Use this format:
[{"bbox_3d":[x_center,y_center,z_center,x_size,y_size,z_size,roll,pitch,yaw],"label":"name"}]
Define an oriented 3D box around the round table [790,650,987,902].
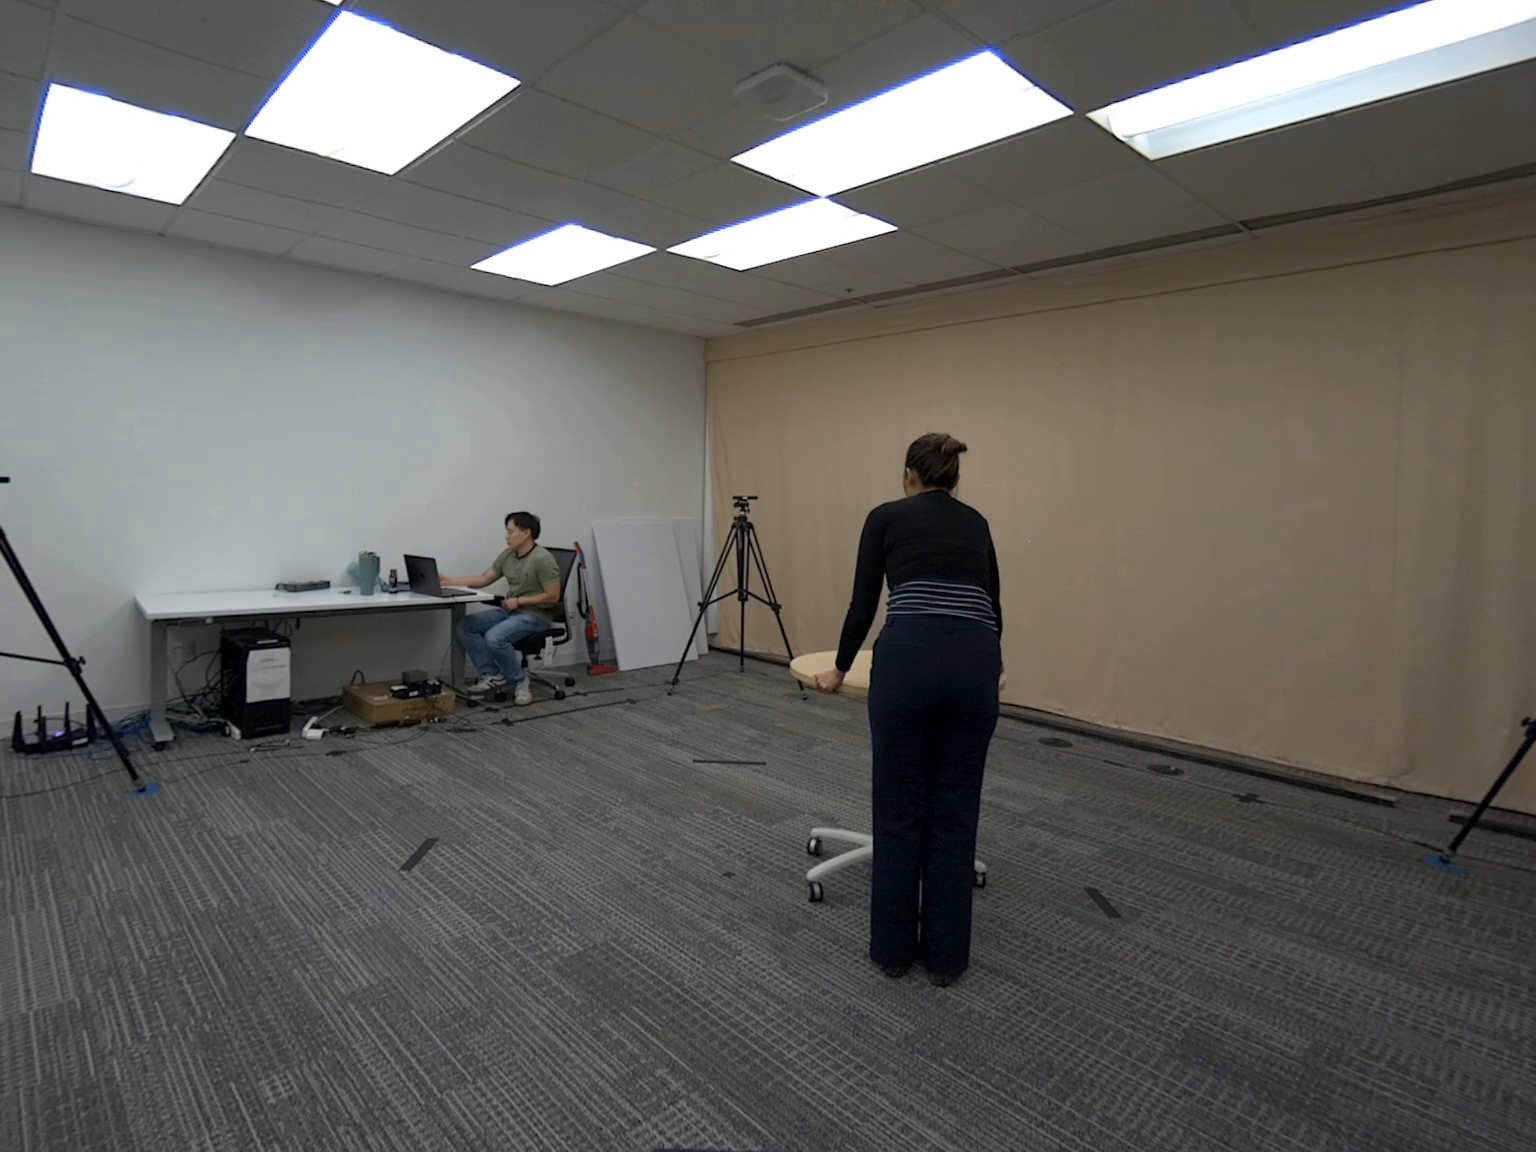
[{"bbox_3d":[0.444,0.733,3.068,0.763,0.792,0.766,2,4,-1],"label":"round table"}]
